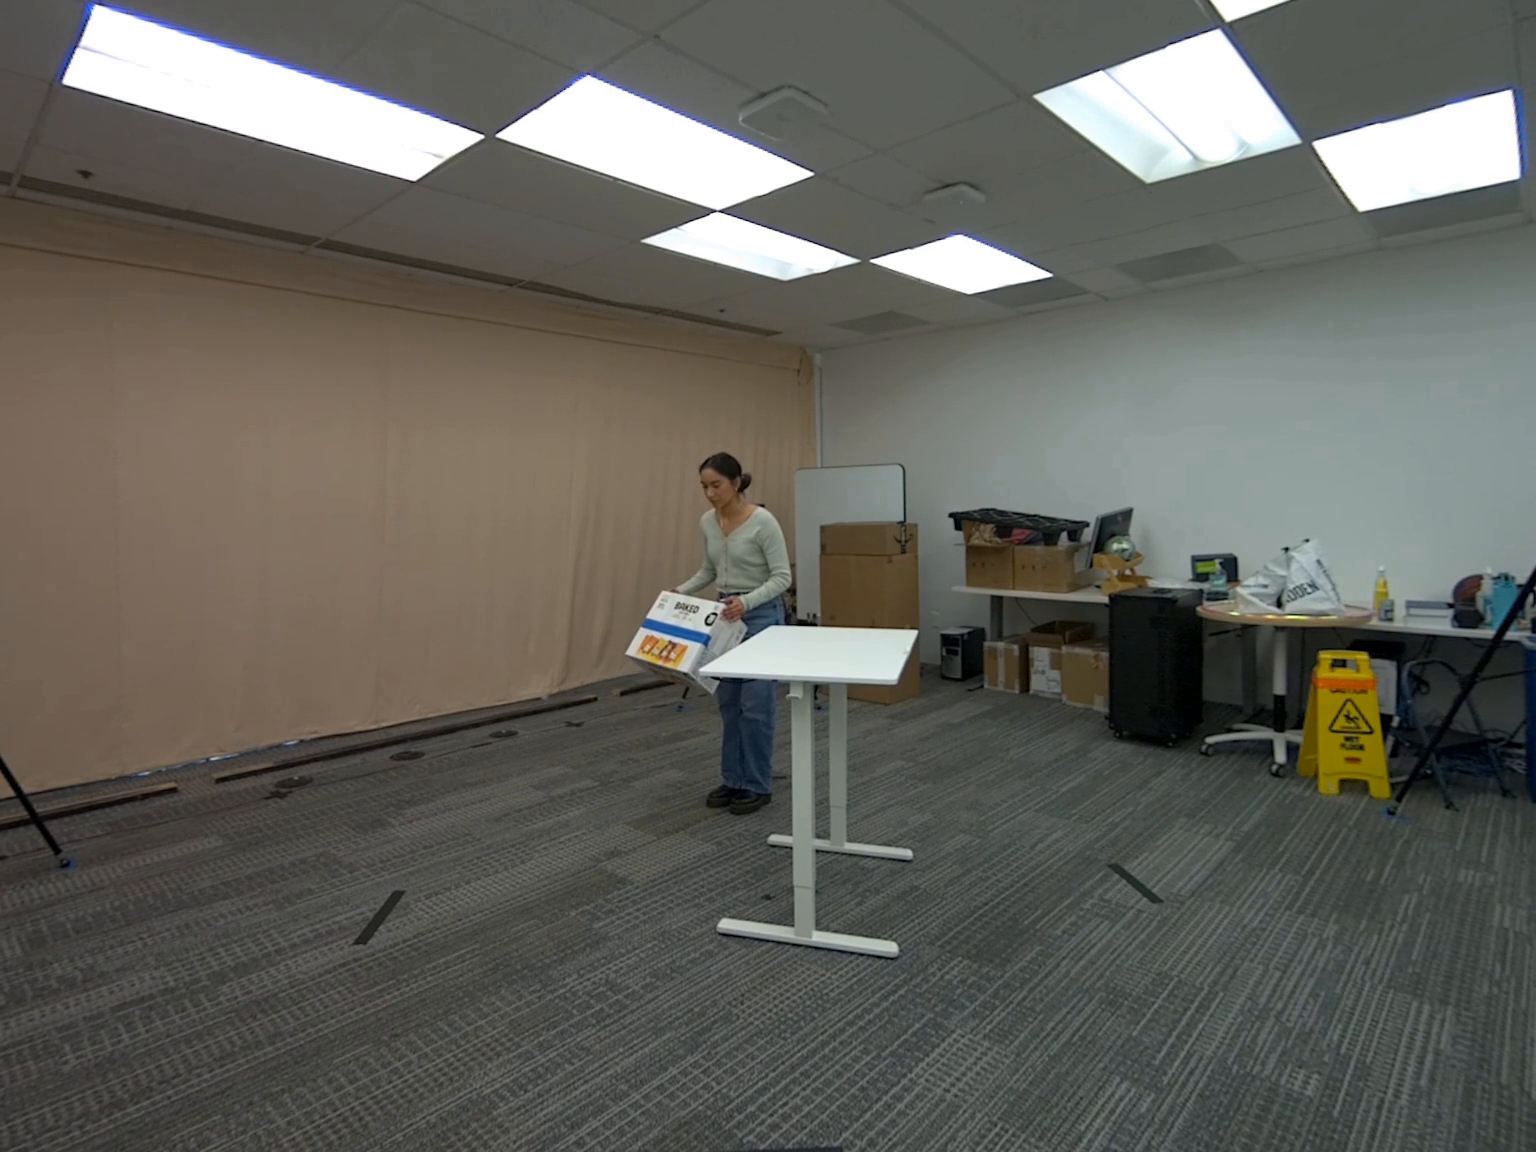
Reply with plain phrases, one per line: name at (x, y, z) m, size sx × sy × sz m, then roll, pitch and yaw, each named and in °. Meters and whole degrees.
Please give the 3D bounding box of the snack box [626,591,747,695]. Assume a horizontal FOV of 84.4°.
snack box at (-0.356, 0.287, 3.718) m, size 0.419 × 0.340 × 0.198 m, roll 9°, pitch -28°, yaw 42°
